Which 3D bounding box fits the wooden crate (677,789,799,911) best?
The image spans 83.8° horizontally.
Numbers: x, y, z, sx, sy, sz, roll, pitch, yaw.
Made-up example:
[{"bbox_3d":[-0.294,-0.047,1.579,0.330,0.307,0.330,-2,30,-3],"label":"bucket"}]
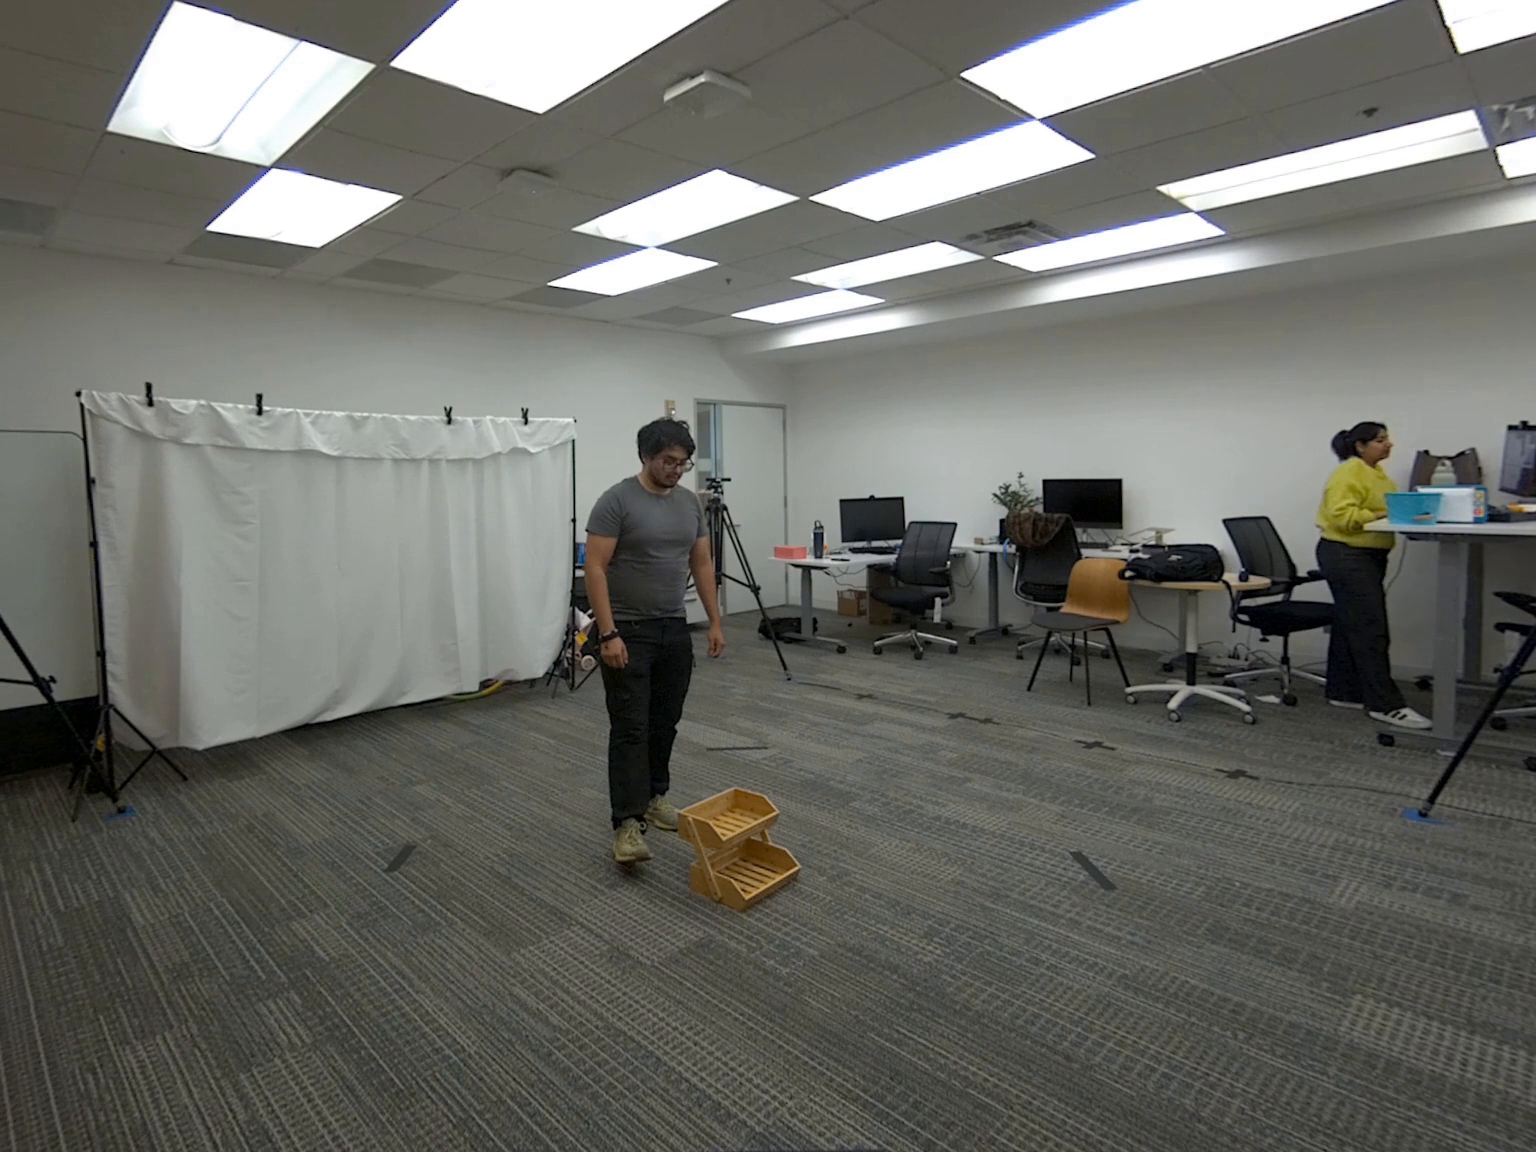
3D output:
[{"bbox_3d":[-0.097,0.921,2.948,0.311,0.272,0.316,3,7,40],"label":"wooden crate"}]
